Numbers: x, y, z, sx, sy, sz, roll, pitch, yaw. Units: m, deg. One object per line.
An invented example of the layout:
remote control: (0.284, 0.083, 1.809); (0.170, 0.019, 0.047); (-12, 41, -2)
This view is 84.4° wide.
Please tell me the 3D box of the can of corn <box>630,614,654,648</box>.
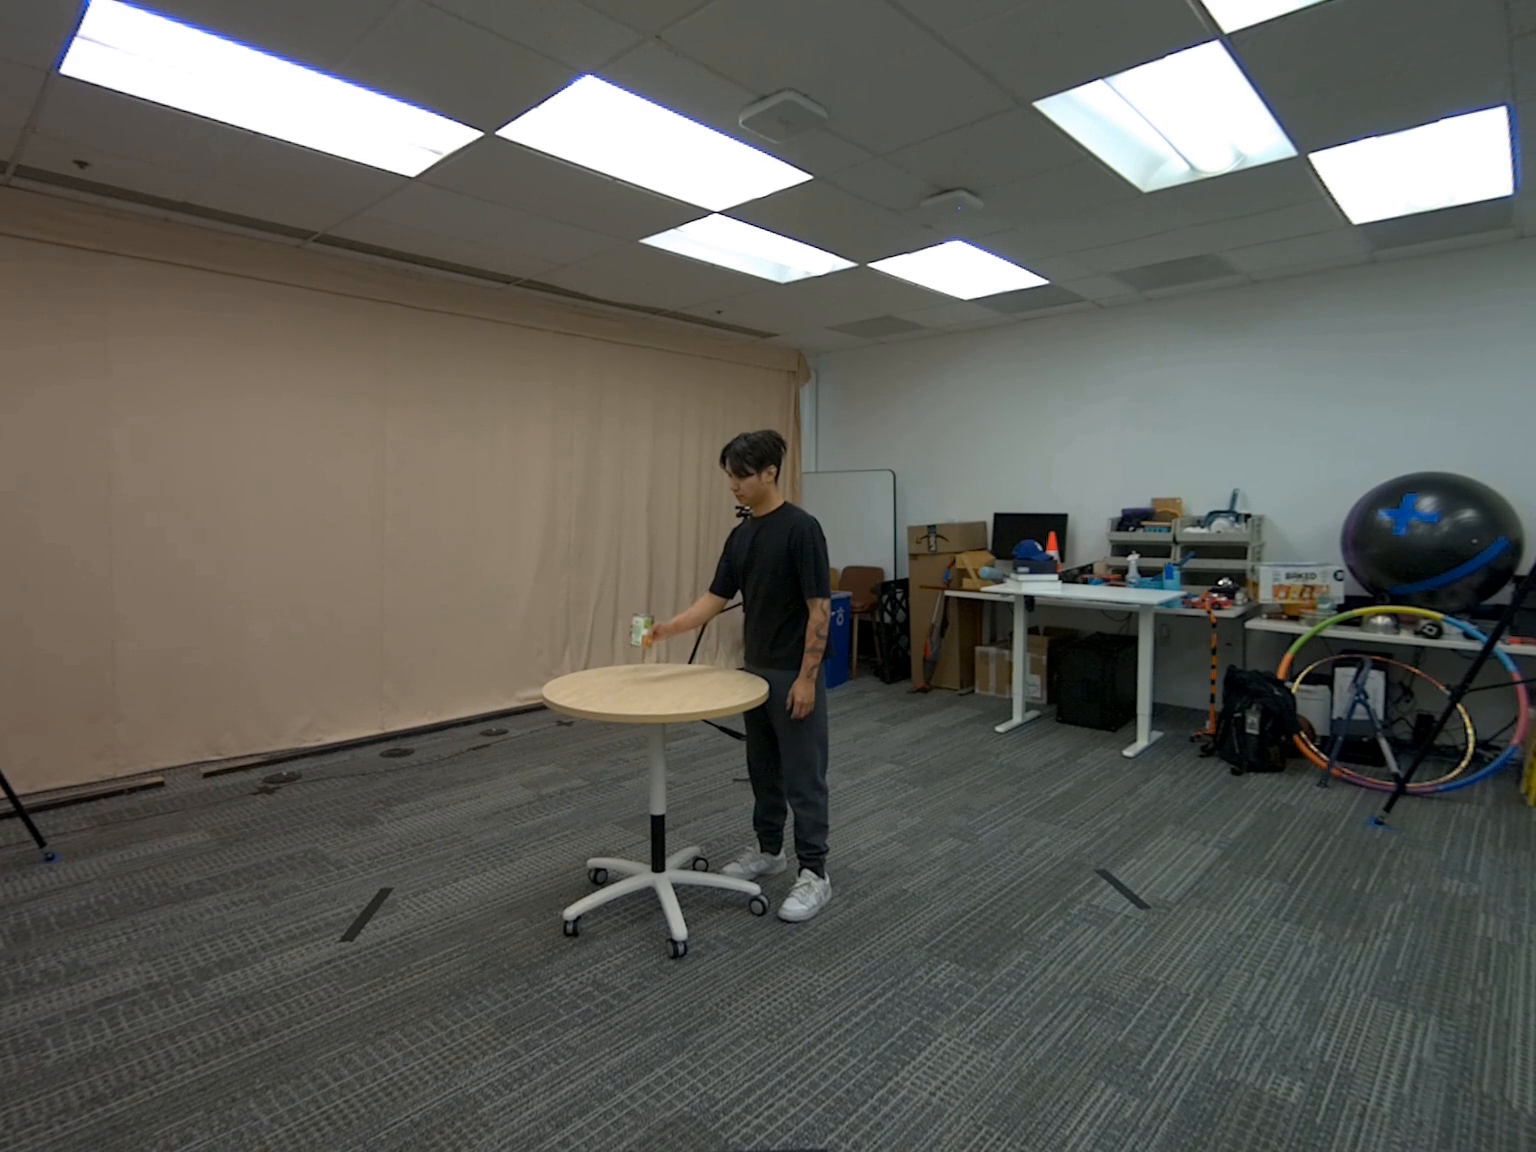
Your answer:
can of corn: (-0.441, 0.207, 2.986); (0.074, 0.111, 0.074); (4, 0, -2)
